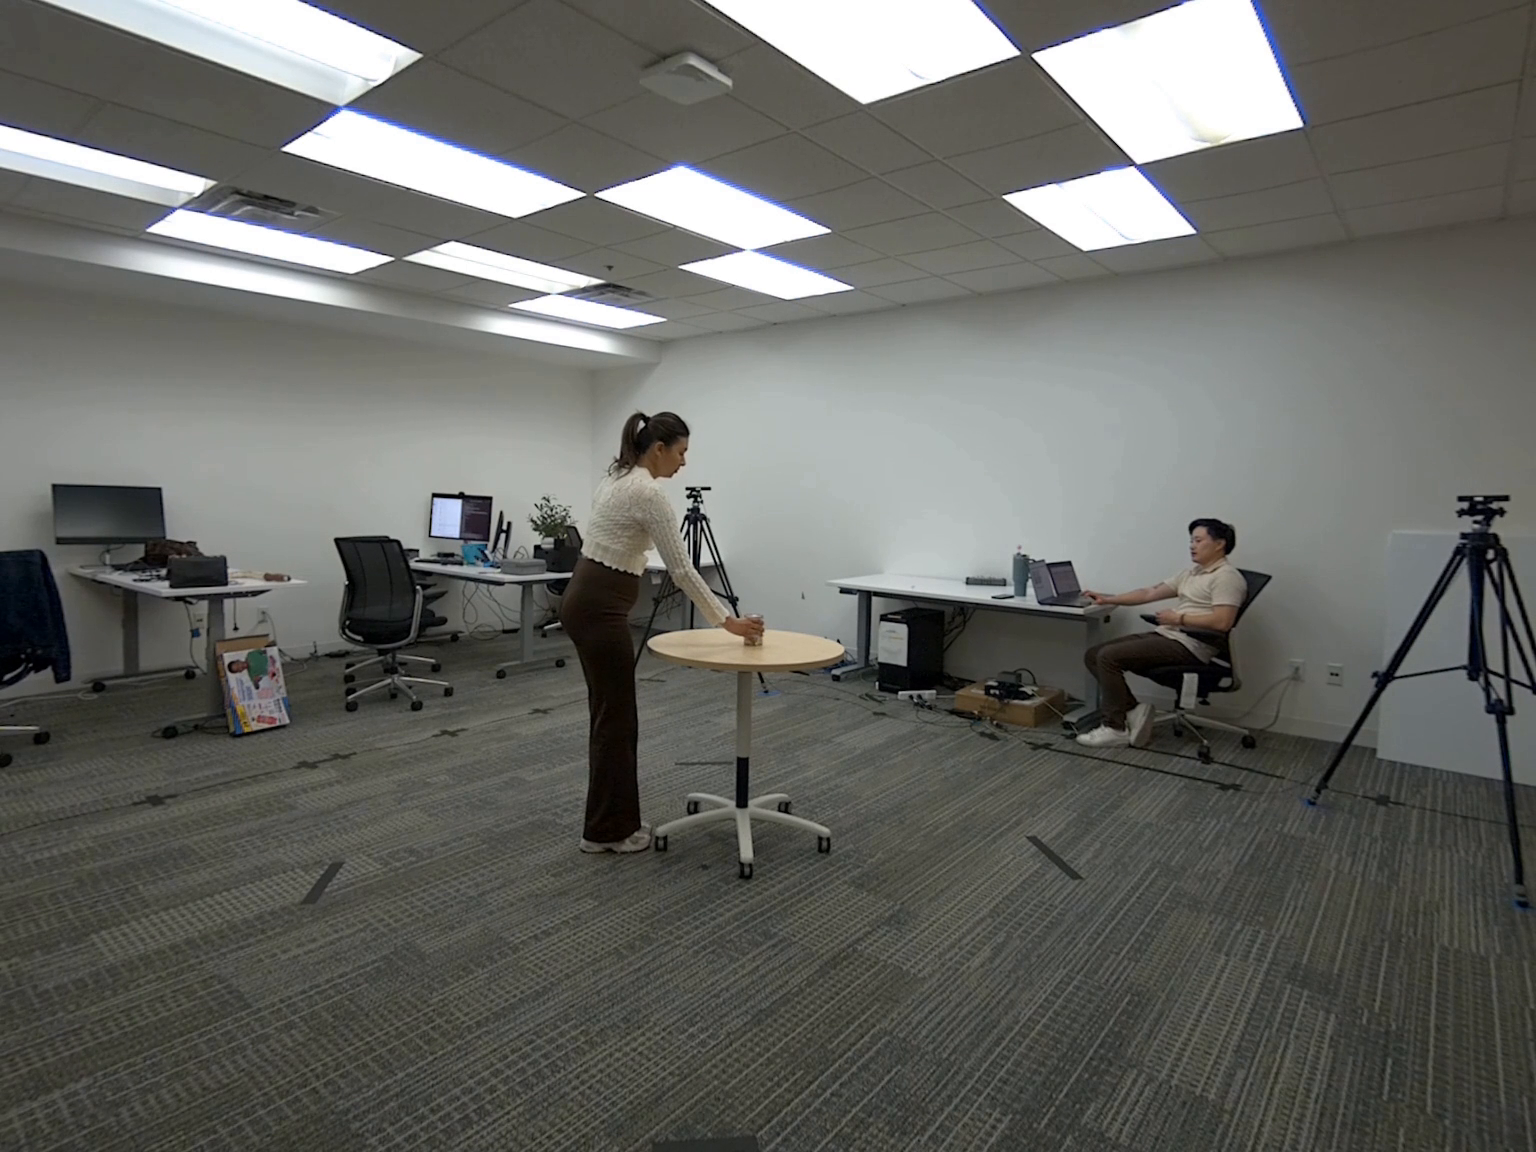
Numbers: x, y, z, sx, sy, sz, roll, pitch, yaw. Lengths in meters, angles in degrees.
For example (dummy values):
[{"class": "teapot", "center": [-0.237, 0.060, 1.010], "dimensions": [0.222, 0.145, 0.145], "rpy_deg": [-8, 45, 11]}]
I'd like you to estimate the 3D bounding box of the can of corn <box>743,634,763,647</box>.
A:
[{"class": "can of corn", "center": [-0.064, 0.207, 3.317], "dimensions": [0.074, 0.111, 0.074], "rpy_deg": [2, 4, -2]}]
